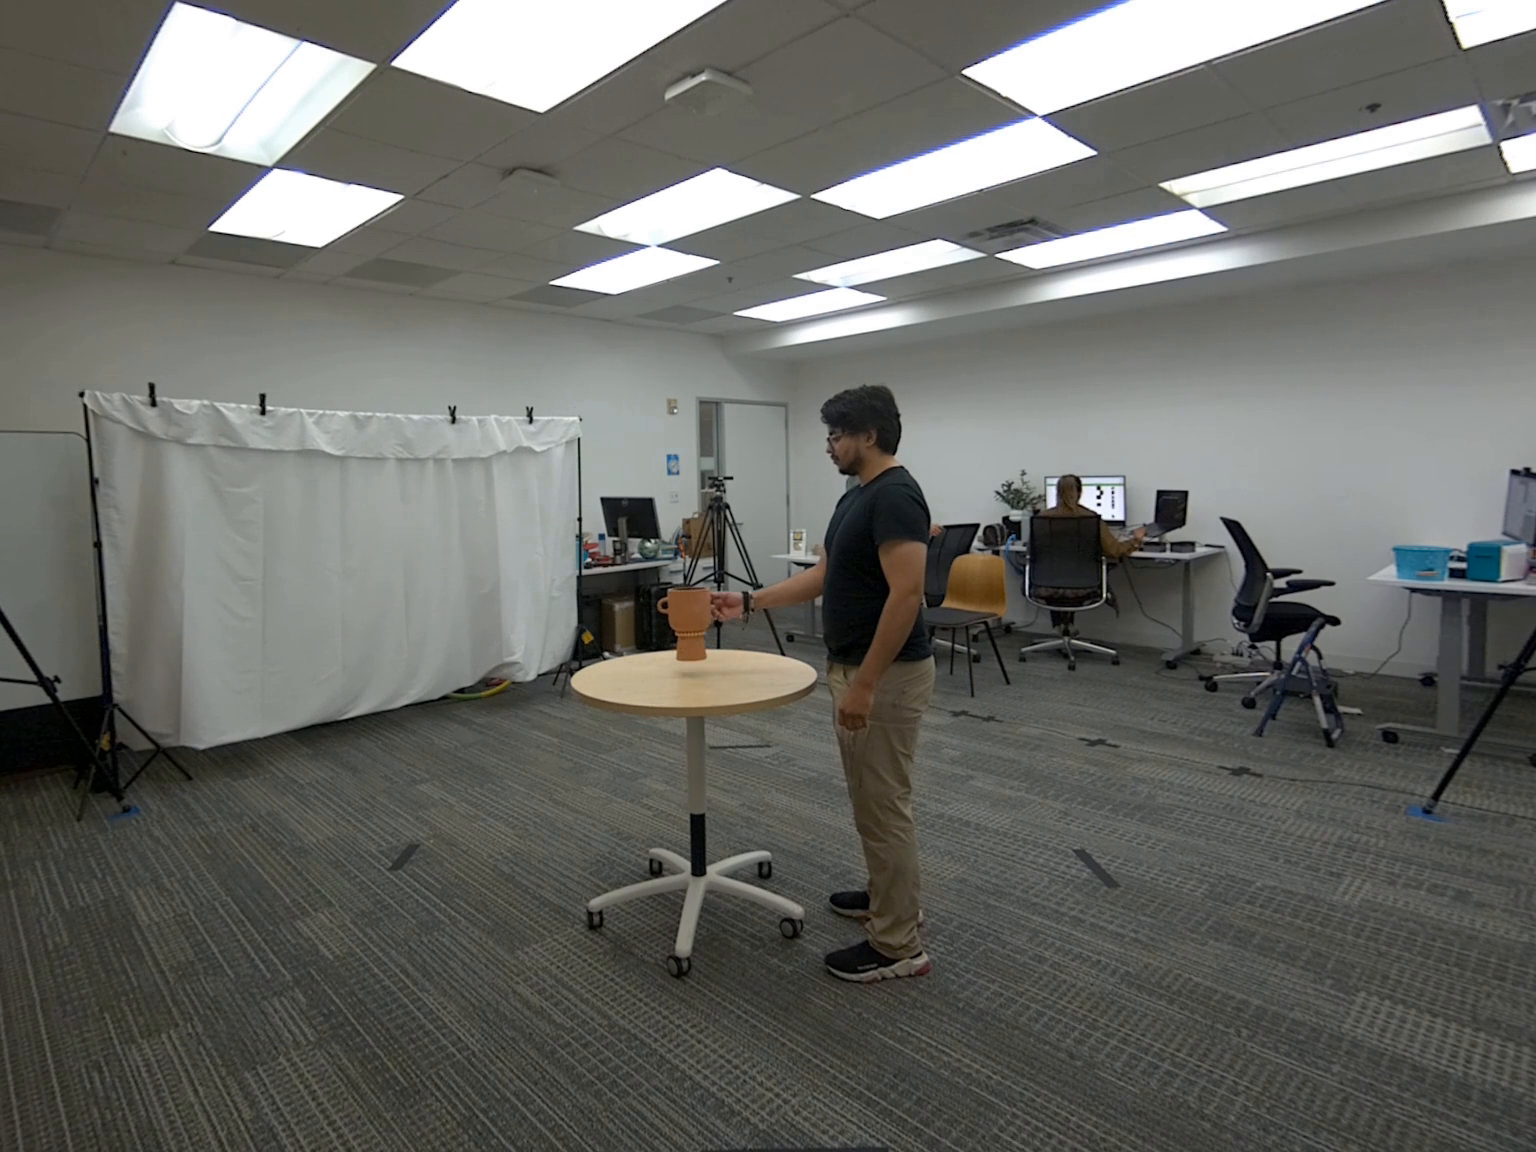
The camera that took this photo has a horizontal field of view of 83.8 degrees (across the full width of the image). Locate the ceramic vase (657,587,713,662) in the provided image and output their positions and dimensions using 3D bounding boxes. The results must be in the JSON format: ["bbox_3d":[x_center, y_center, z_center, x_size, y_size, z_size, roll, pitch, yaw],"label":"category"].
[{"bbox_3d":[-0.230,0.145,2.667,0.163,0.220,0.131,-2,1,32],"label":"ceramic vase"}]
